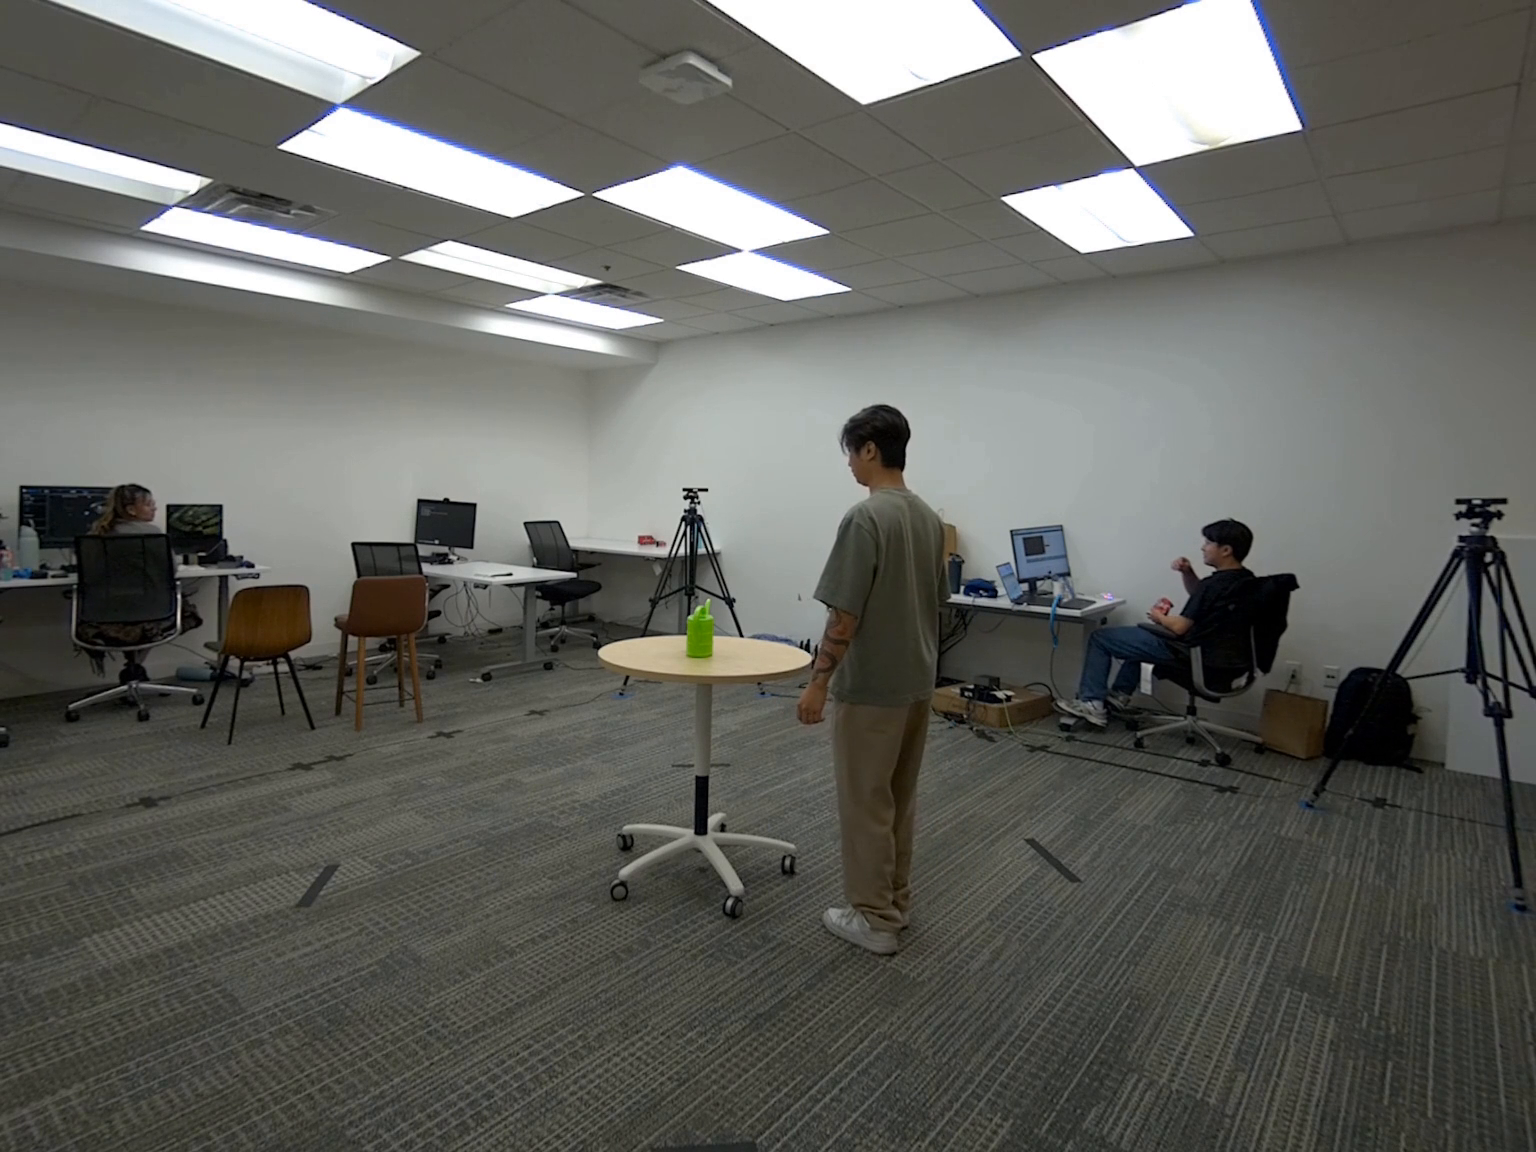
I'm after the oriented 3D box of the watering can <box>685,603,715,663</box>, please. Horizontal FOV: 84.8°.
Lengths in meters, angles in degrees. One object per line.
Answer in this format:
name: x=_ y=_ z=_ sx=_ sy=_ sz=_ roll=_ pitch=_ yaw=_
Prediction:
watering can: x=-0.234 y=0.189 z=3.061 sx=0.100 sy=0.176 sz=0.273 roll=3 pitch=7 yaw=24
